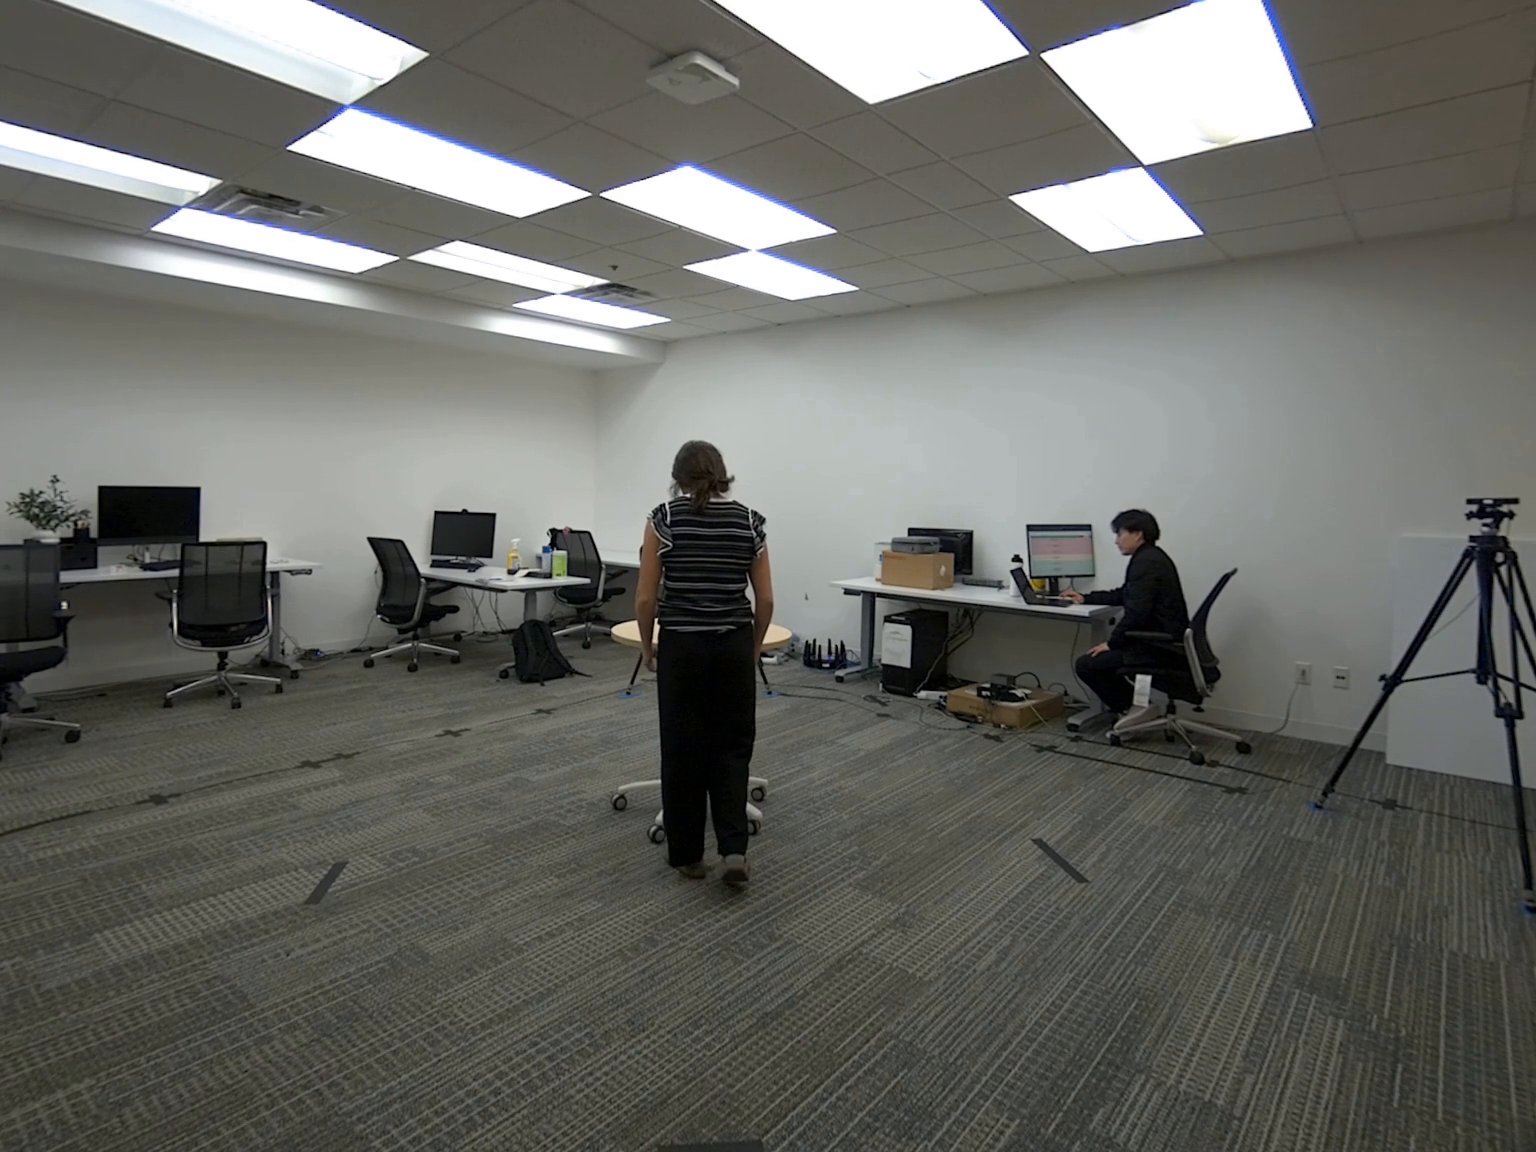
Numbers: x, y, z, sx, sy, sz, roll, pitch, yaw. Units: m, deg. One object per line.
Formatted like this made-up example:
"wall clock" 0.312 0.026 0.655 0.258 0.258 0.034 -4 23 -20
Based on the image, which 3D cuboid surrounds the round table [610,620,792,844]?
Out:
"round table" -0.295 0.616 3.619 0.784 0.784 0.789 1 4 -2
